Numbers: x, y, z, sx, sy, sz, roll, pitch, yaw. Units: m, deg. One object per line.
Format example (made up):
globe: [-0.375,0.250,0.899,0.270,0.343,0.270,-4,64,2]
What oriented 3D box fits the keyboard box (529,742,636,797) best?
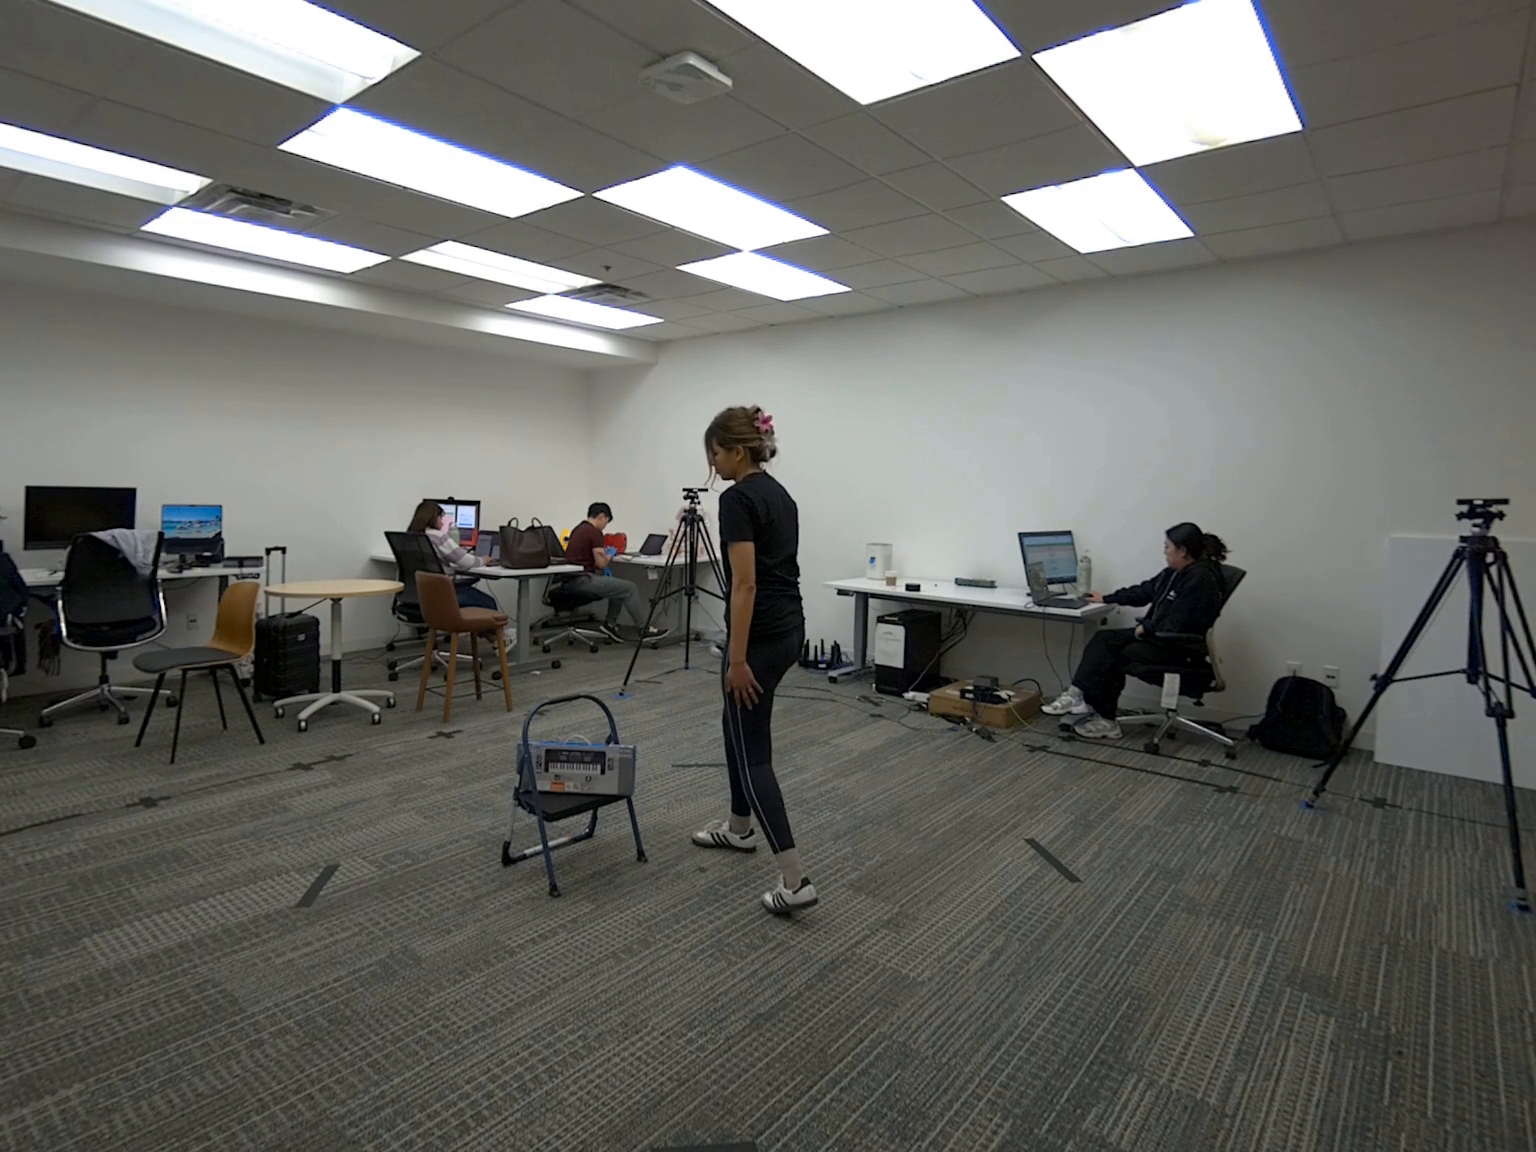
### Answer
keyboard box: [-0.722,0.709,3.142,0.437,0.176,0.059,1,-3,2]
